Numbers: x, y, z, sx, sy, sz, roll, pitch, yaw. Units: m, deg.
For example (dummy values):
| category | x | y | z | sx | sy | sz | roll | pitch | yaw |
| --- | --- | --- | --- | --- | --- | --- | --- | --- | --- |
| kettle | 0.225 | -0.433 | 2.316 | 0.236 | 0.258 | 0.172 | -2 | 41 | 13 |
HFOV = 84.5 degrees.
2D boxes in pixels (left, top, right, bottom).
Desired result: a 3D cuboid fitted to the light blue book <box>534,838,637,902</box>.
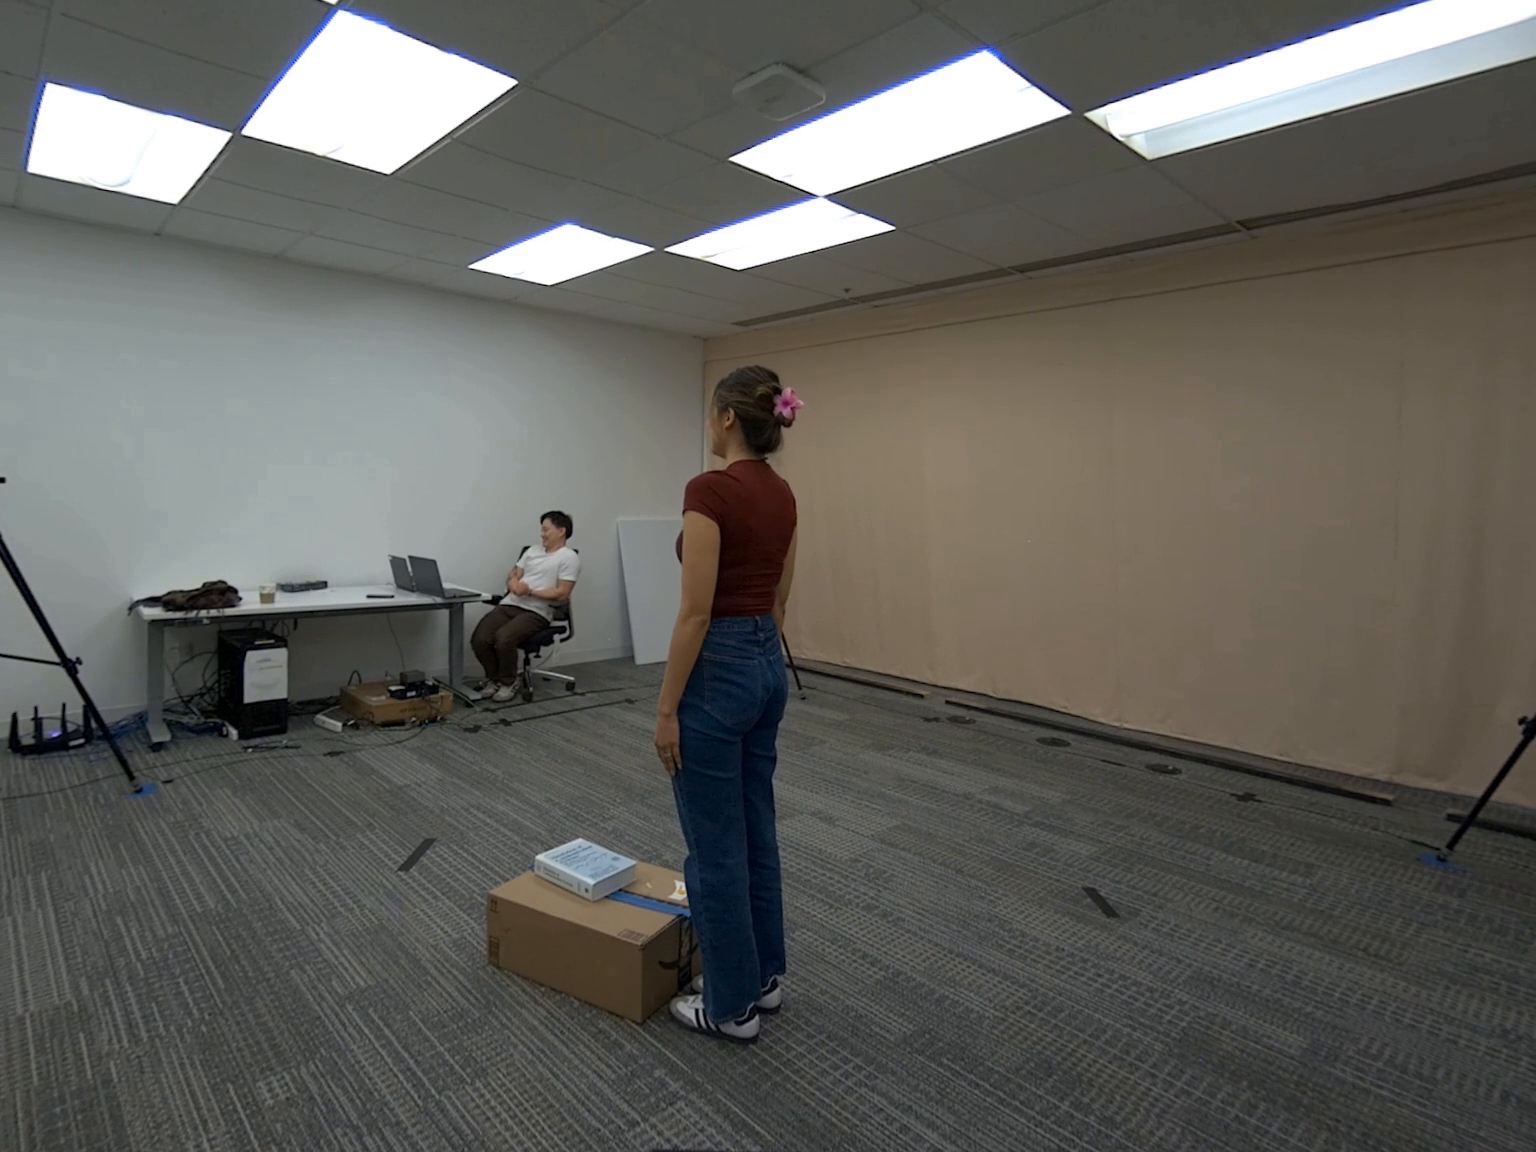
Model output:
| category | x | y | z | sx | sy | sz | roll | pitch | yaw |
| --- | --- | --- | --- | --- | --- | --- | --- | --- | --- |
| light blue book | -0.563 | 0.896 | 2.590 | 0.267 | 0.059 | 0.187 | 7 | 7 | 36 |
